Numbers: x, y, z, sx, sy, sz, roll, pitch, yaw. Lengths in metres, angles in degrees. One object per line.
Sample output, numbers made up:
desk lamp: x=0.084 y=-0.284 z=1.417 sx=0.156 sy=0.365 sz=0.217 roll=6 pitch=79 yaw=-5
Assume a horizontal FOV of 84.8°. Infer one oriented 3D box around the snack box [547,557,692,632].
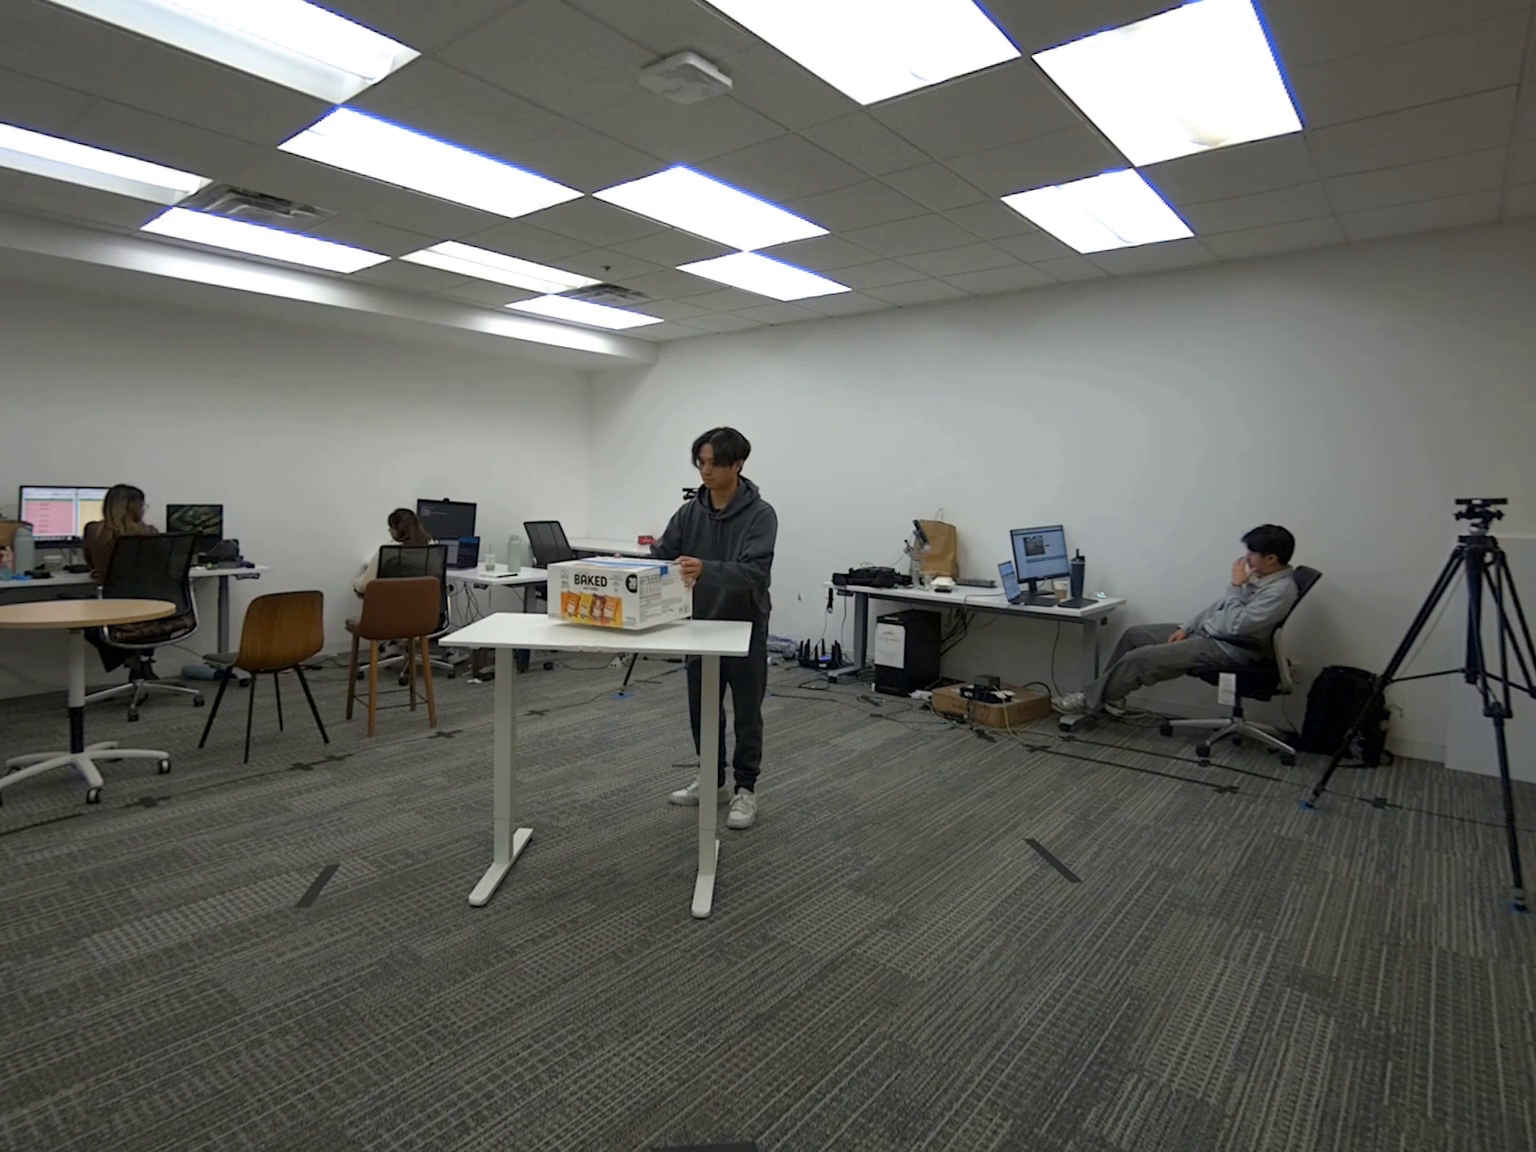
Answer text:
snack box: x=-0.554 y=0.050 z=3.126 sx=0.417 sy=0.204 sz=0.332 roll=4 pitch=7 yaw=30
